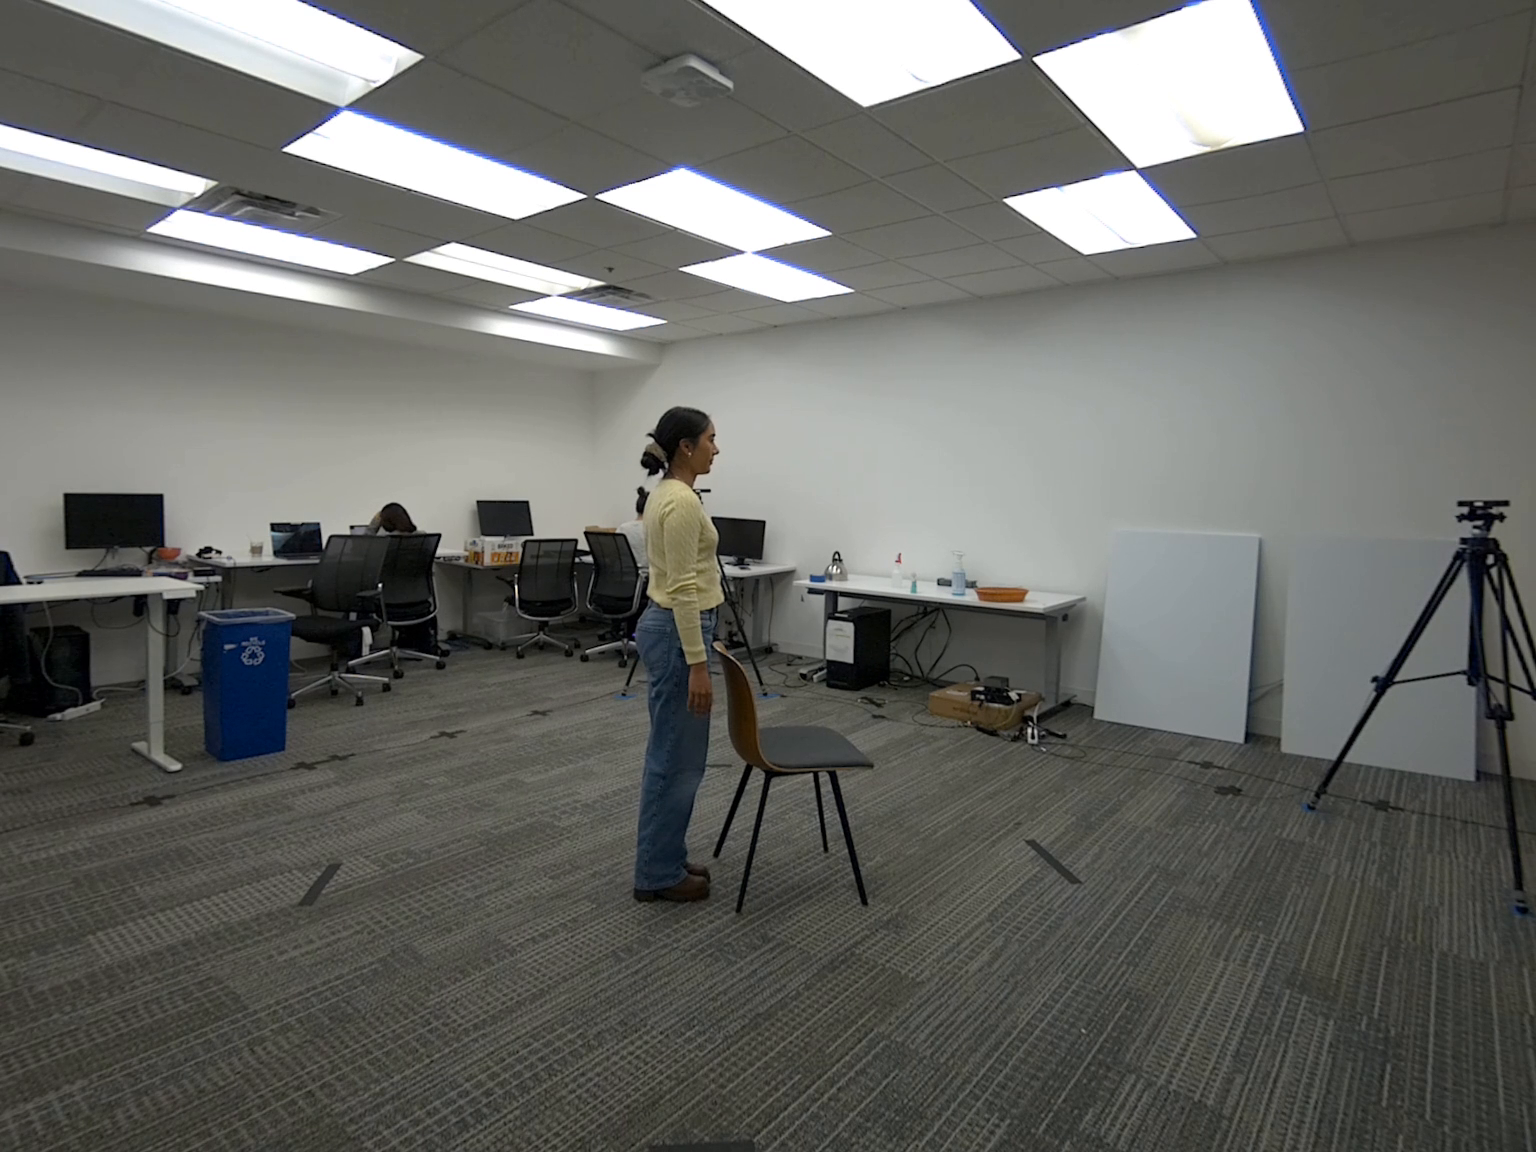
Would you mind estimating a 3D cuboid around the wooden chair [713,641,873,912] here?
[{"bbox_3d":[0.080,0.664,3.026,0.517,0.875,0.485,-3,3,-12],"label":"wooden chair"}]
